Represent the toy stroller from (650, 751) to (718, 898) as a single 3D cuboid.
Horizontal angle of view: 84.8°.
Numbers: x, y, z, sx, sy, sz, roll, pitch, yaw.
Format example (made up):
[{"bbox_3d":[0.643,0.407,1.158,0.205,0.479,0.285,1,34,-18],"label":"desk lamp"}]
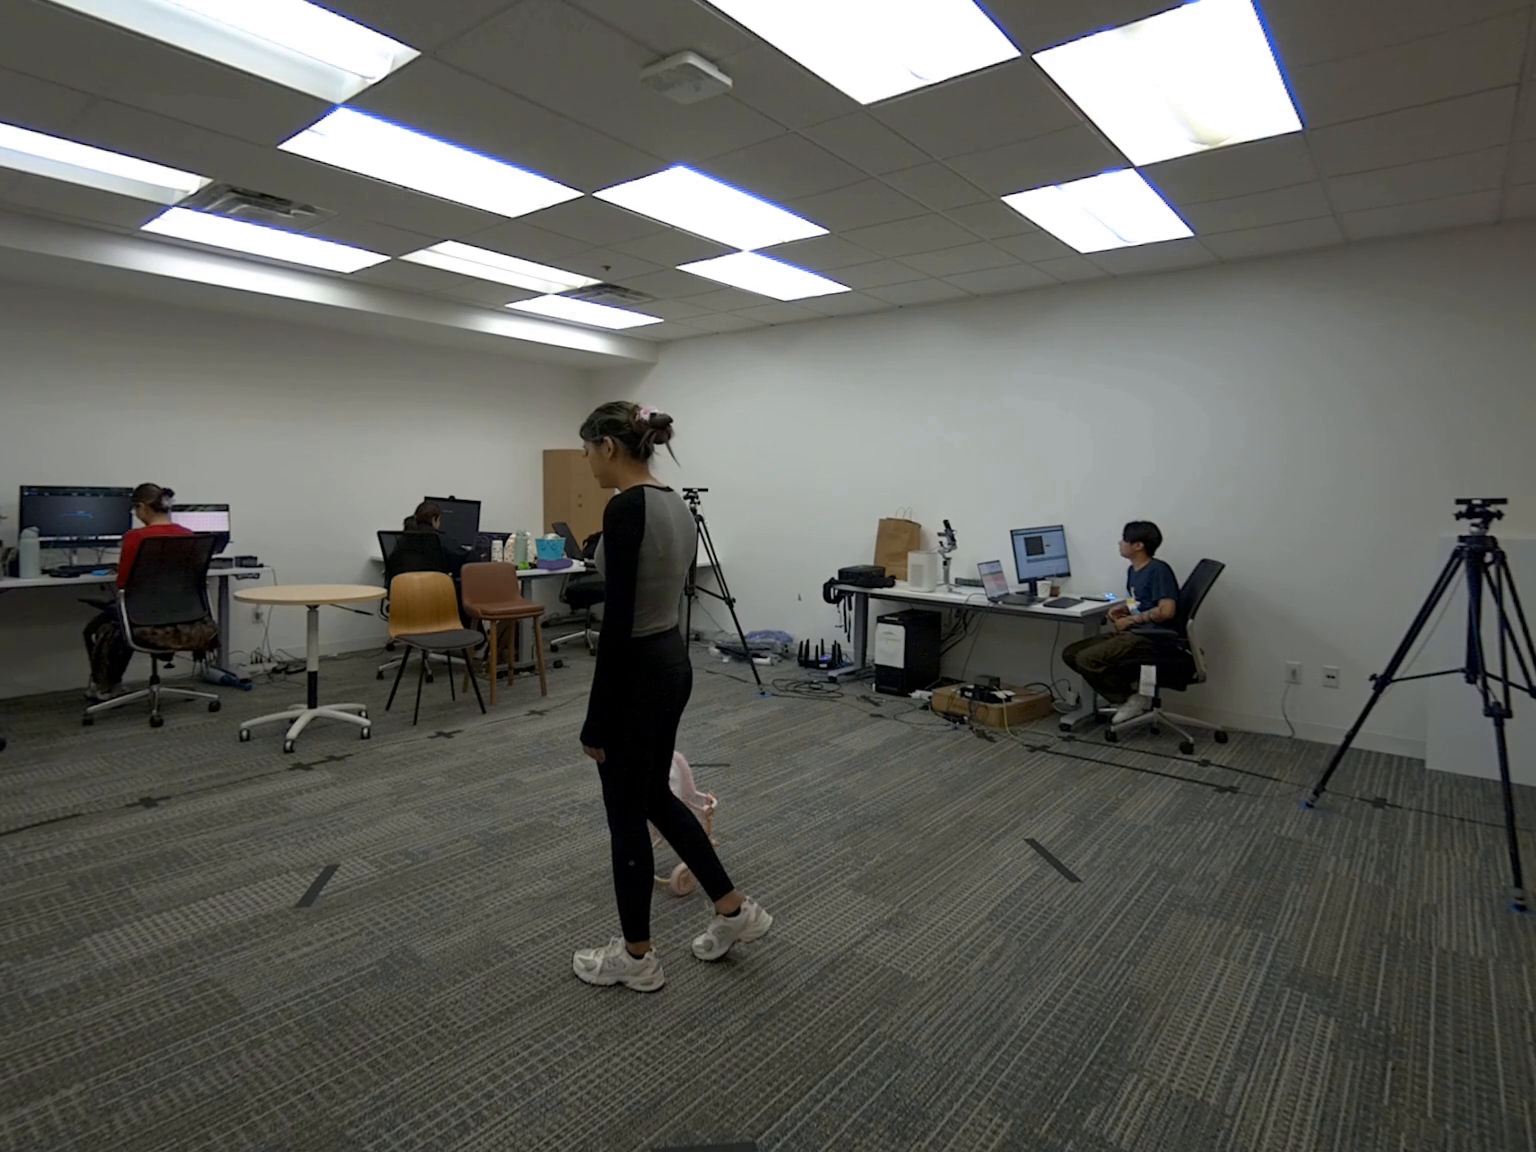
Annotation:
[{"bbox_3d":[-0.346,0.849,3.027,0.335,0.526,0.291,-23,19,-40],"label":"toy stroller"}]
